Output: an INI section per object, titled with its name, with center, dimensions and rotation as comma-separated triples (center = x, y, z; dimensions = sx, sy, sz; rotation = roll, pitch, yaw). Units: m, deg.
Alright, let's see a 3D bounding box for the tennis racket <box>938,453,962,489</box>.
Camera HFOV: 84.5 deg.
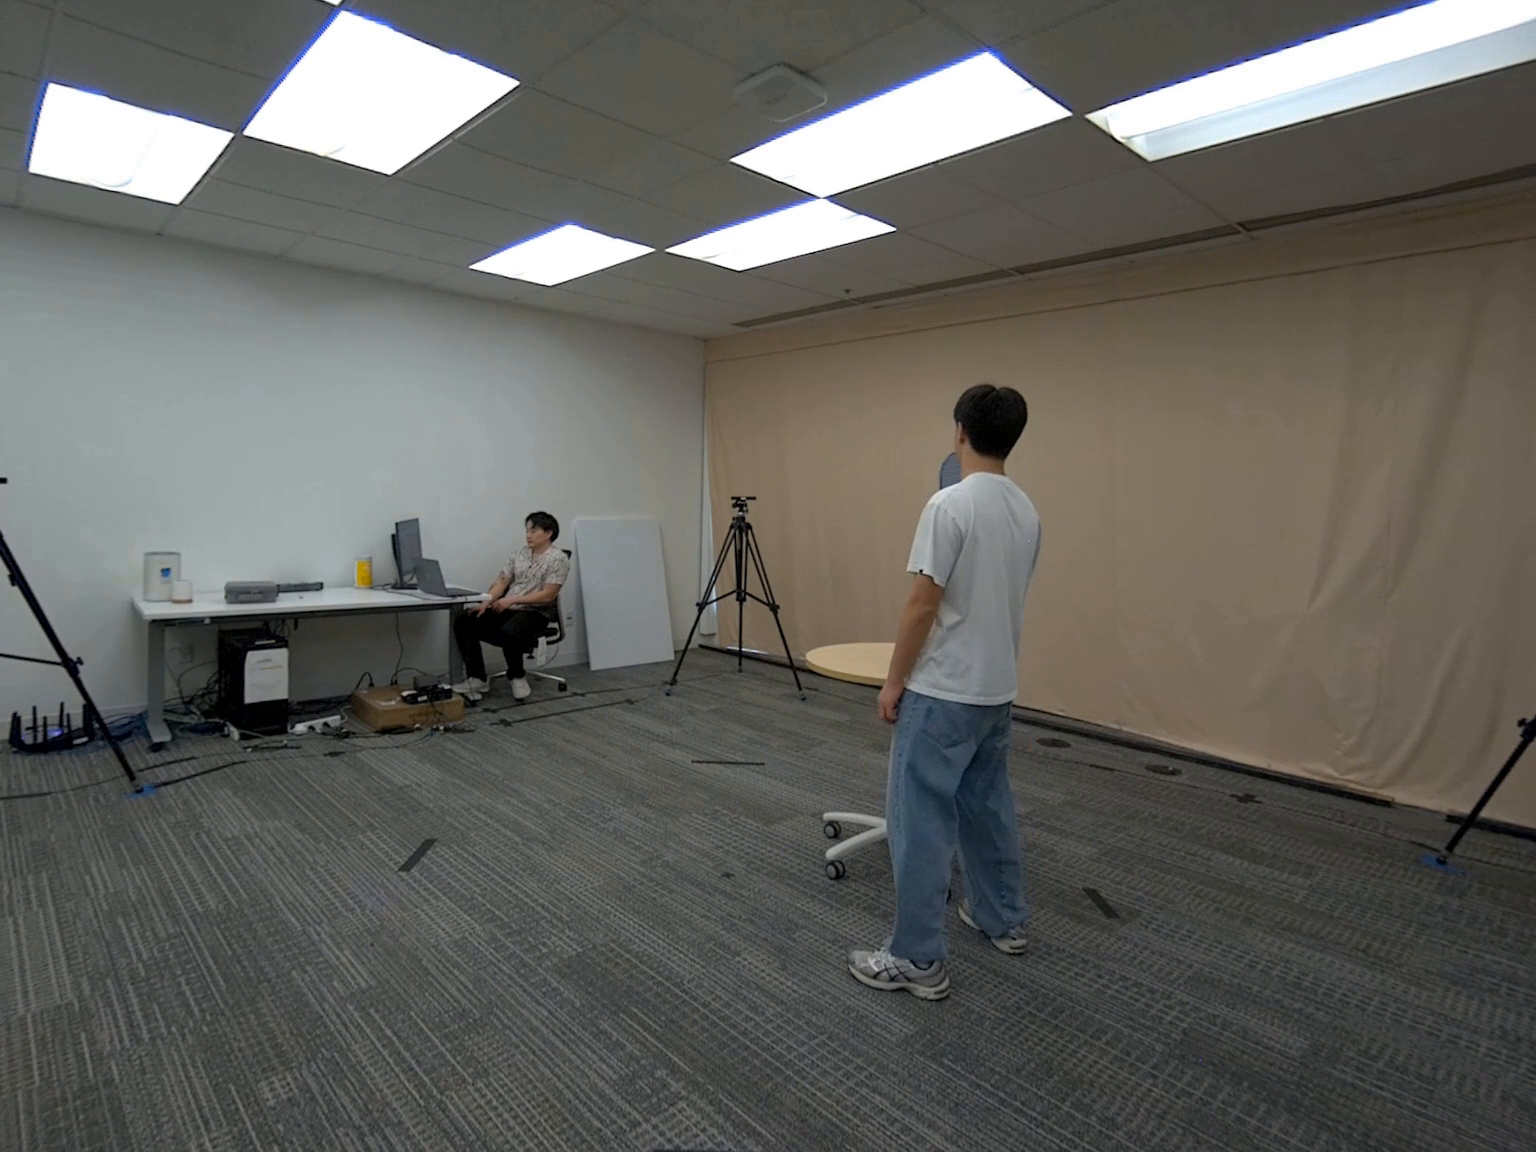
[tennis racket]
center = 0.733, -0.254, 3.131
dimensions = 0.210, 0.436, 0.032
rotation = 2, -11, -23
